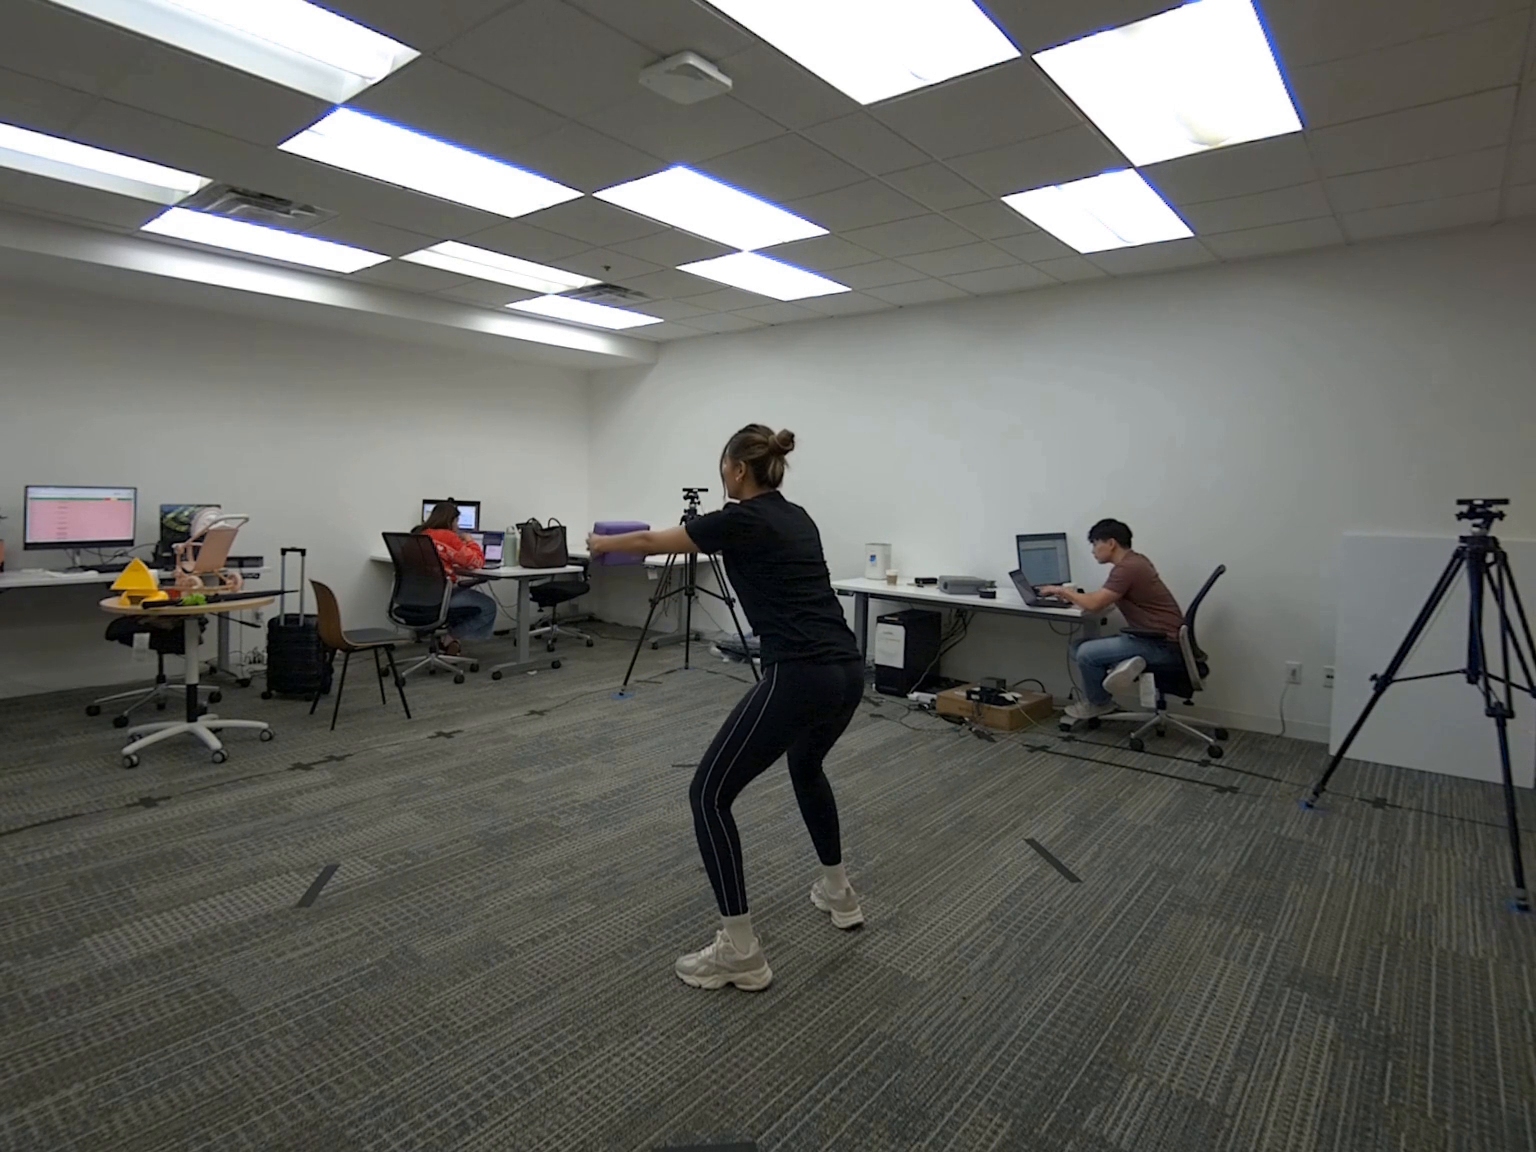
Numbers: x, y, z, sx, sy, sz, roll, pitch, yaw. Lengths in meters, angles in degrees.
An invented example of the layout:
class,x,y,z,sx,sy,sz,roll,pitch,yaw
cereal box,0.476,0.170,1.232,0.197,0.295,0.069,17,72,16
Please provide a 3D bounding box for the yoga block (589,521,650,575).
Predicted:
class,x,y,z,sx,sy,sz,roll,pitch,yaw
yoga block,-0.545,-0.122,3.055,0.079,0.148,0.222,16,14,41
